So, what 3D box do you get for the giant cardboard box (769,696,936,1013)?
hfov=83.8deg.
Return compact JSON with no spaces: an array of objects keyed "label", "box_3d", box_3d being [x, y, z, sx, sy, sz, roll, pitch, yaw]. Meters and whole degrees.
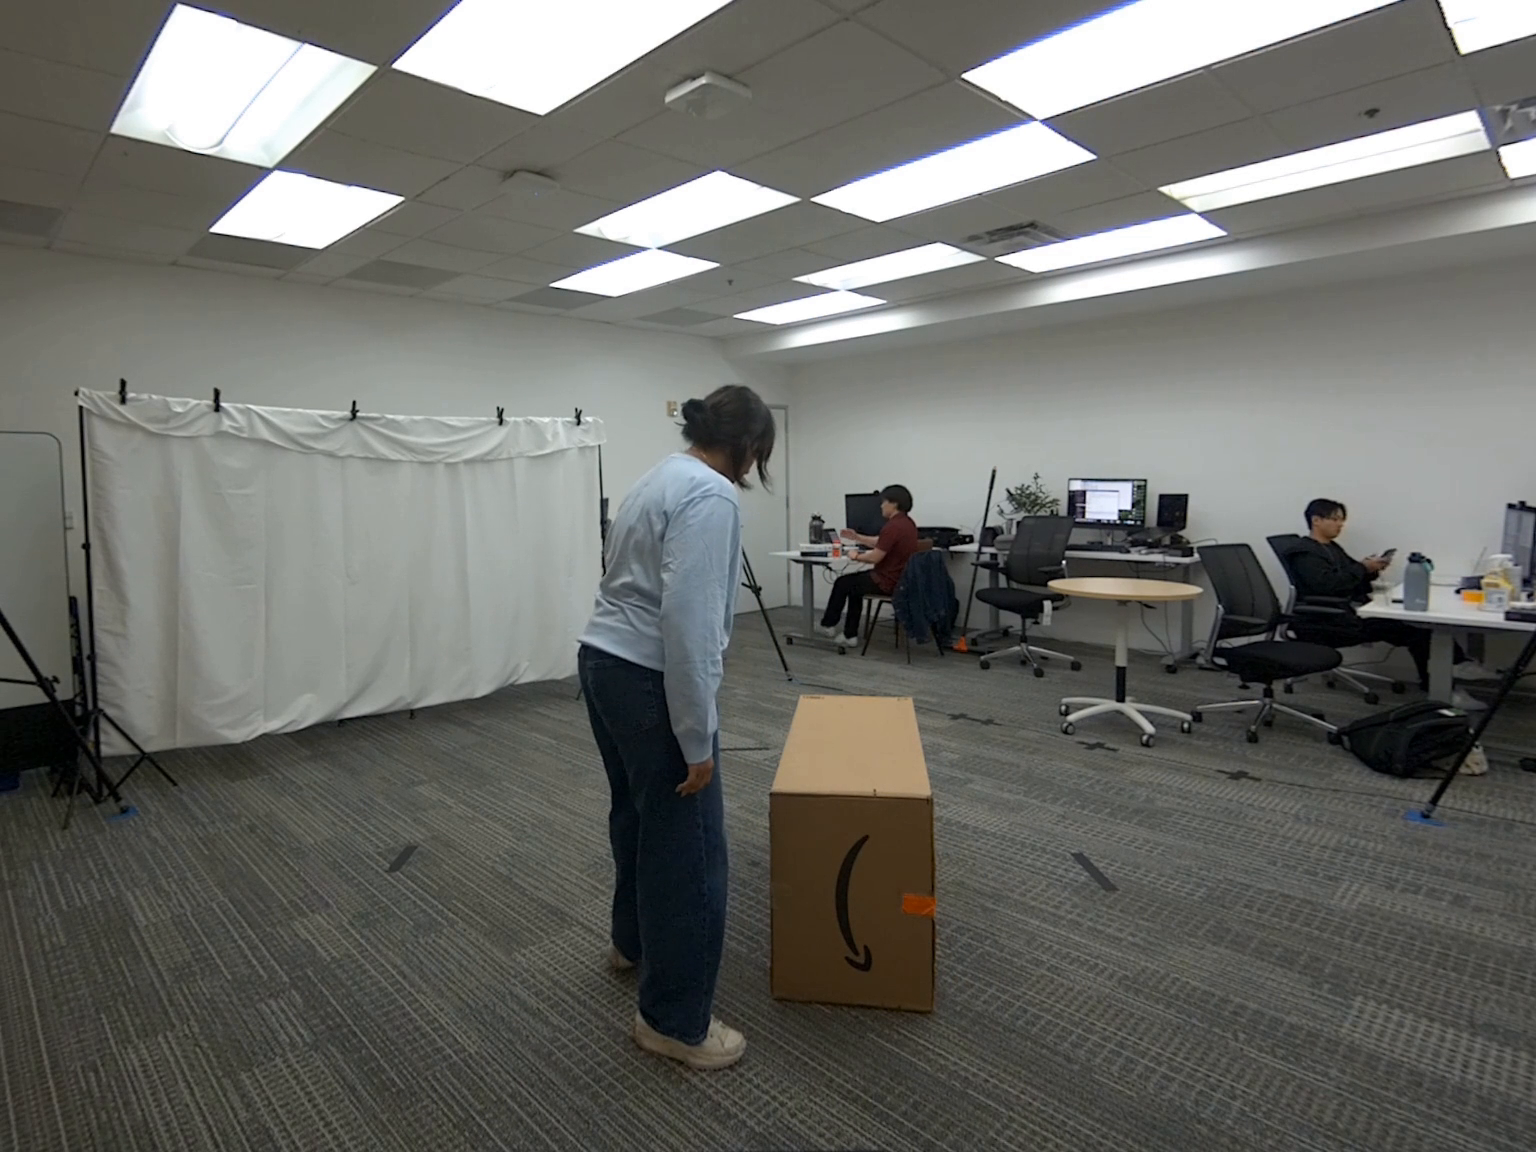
[{"label":"giant cardboard box","box_3d":[0.281,0.789,2.738,0.430,0.575,1.022,0,6,7]}]
